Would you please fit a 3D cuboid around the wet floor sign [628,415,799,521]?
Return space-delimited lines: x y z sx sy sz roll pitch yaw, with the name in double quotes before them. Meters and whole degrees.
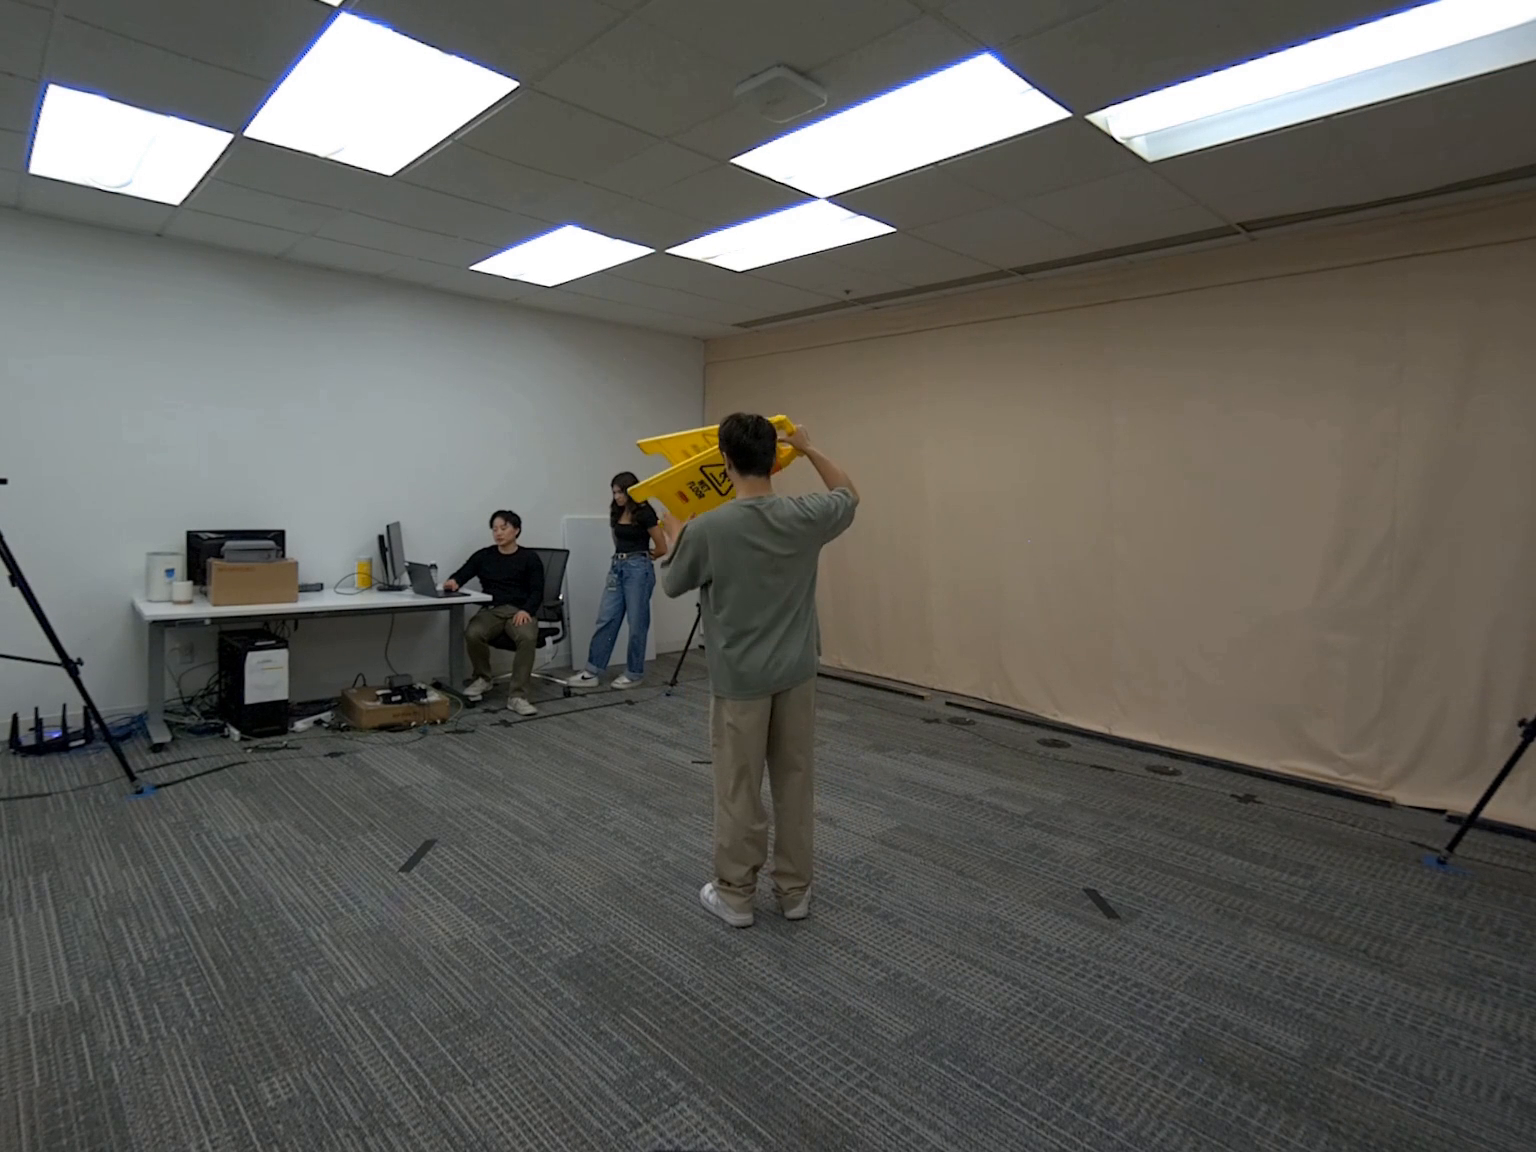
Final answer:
"wet floor sign" -0.177 -0.426 3.177 0.653 0.295 0.273 -18 -43 24
